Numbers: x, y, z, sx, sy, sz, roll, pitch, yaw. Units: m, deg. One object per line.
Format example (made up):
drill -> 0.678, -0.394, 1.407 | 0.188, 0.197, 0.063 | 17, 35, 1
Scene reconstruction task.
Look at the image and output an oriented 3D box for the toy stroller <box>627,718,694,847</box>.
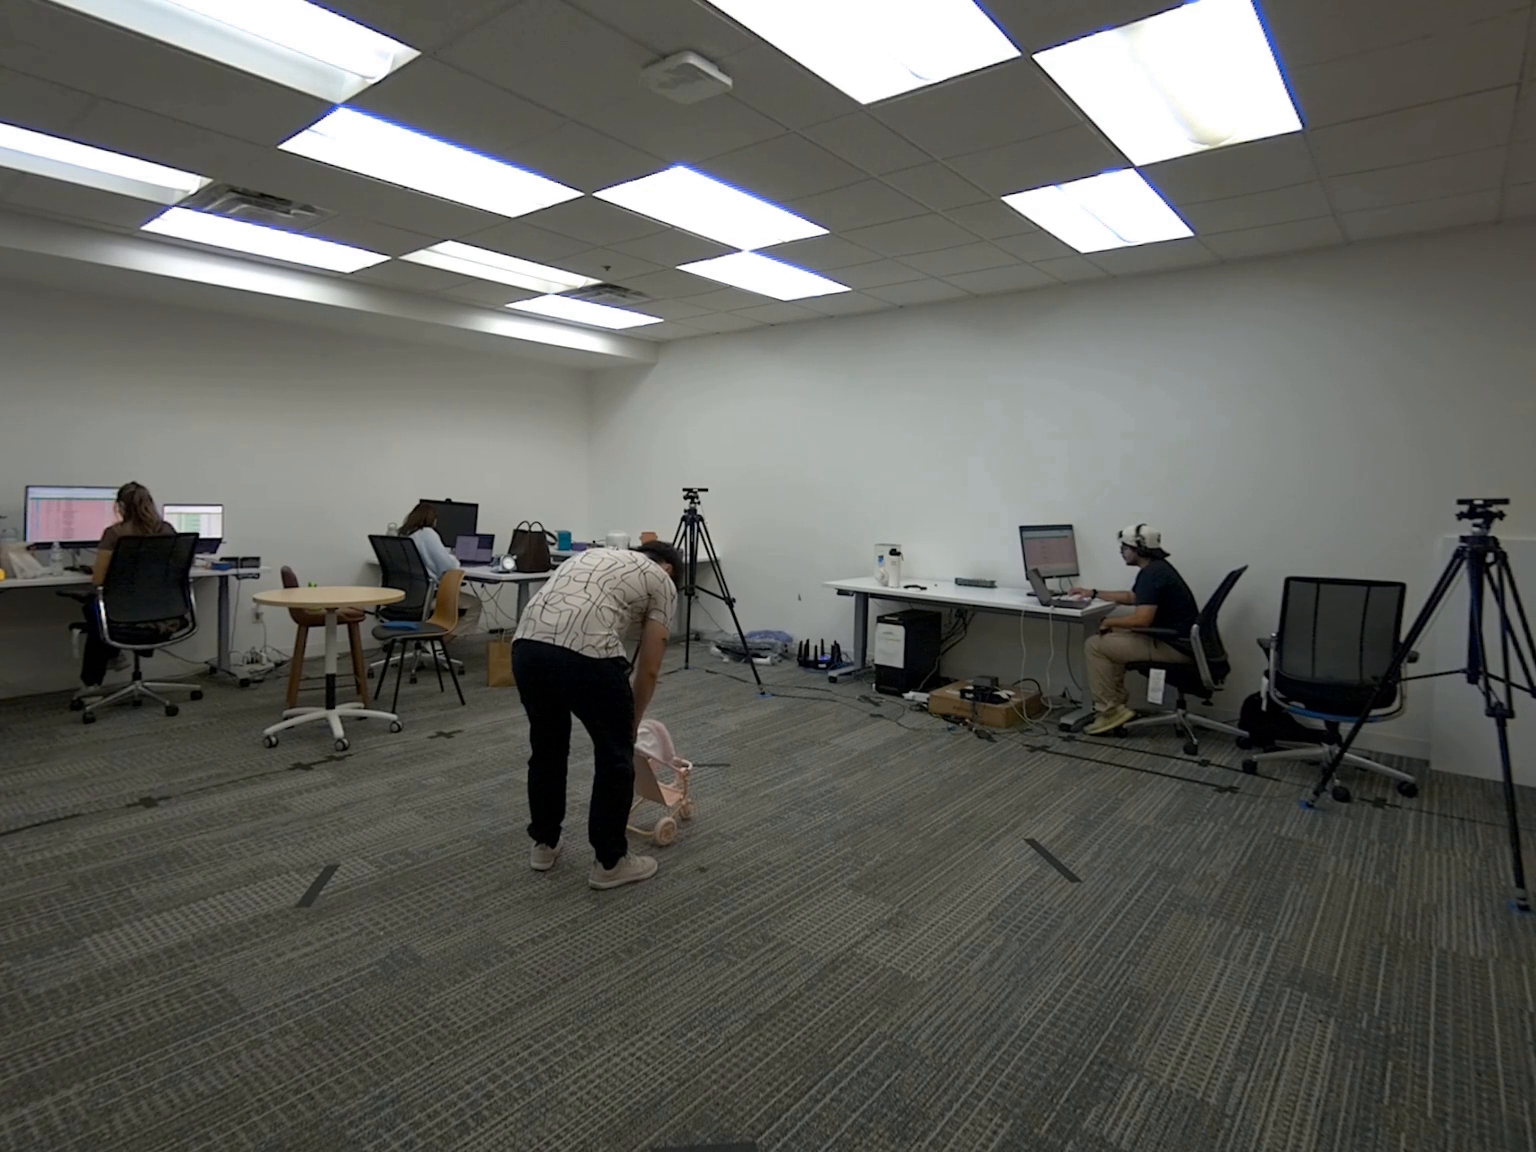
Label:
toy stroller -> -0.468, 0.807, 3.426 | 0.291, 0.526, 0.335 | 5, 20, 42
